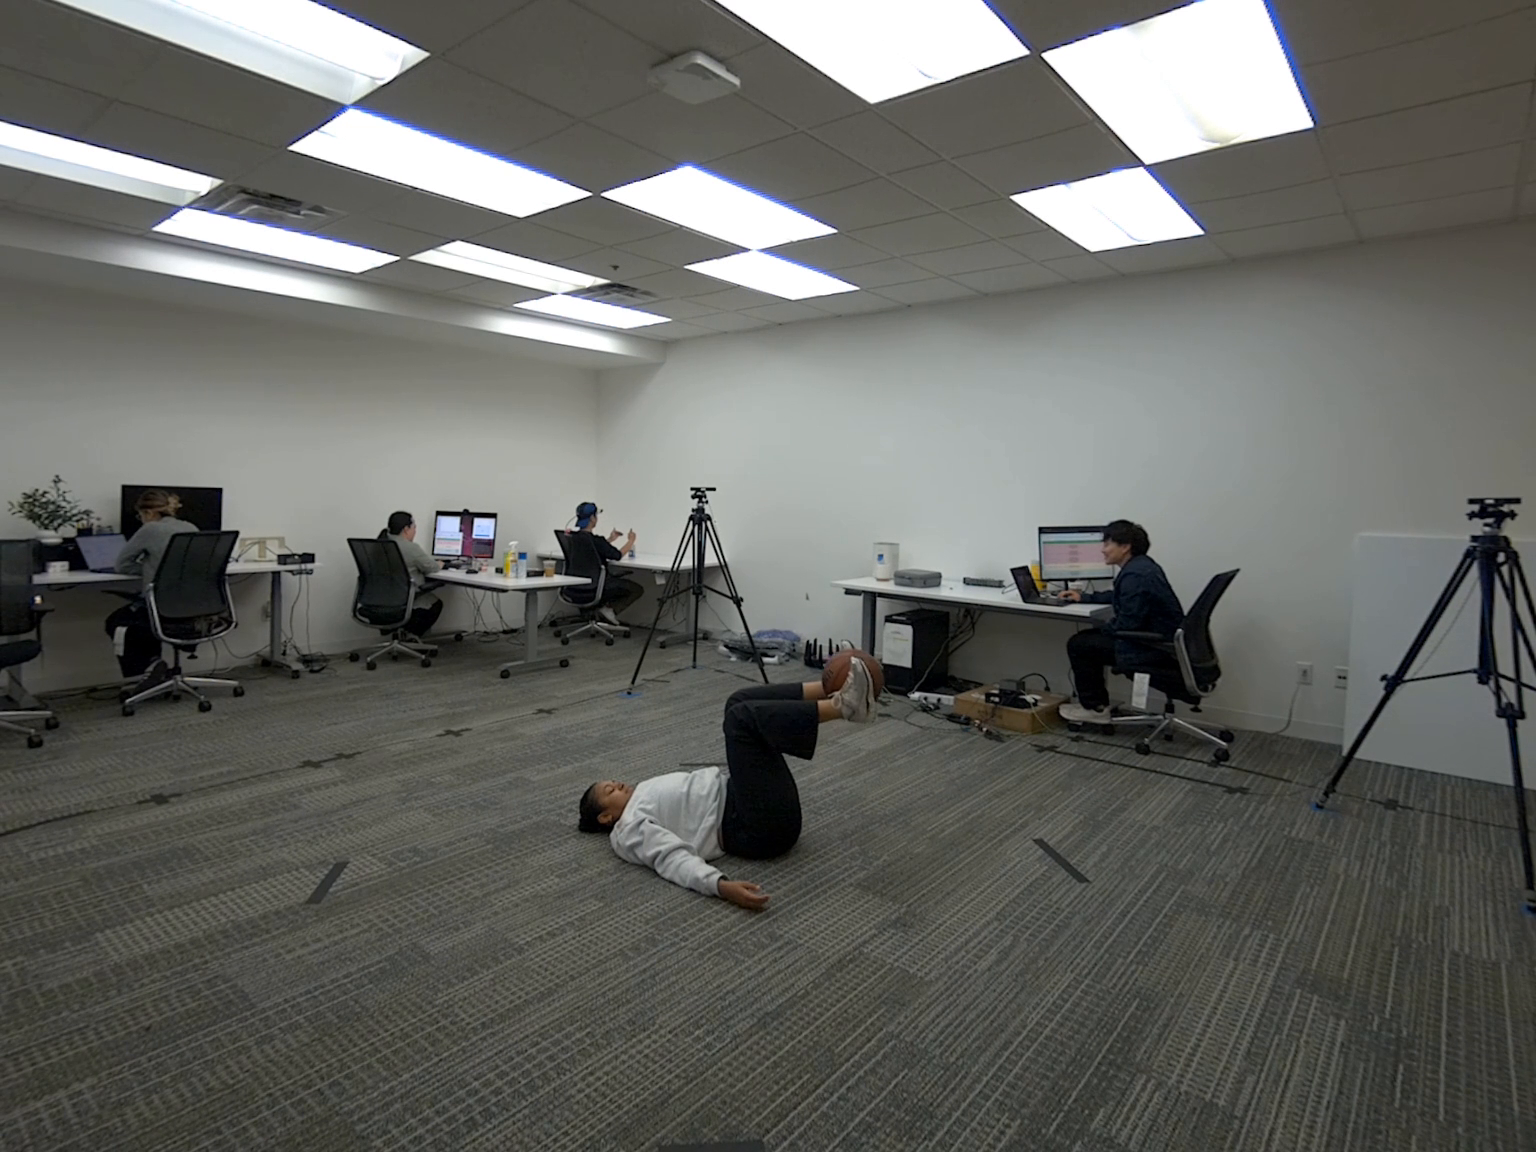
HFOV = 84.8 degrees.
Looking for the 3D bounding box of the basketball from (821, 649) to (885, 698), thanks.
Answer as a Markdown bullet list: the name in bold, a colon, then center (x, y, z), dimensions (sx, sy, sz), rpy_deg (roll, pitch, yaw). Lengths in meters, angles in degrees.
- **basketball**: center (0.310, 0.398, 3.308), dimensions (0.236, 0.234, 0.238), rpy_deg (-2, 8, -2)
